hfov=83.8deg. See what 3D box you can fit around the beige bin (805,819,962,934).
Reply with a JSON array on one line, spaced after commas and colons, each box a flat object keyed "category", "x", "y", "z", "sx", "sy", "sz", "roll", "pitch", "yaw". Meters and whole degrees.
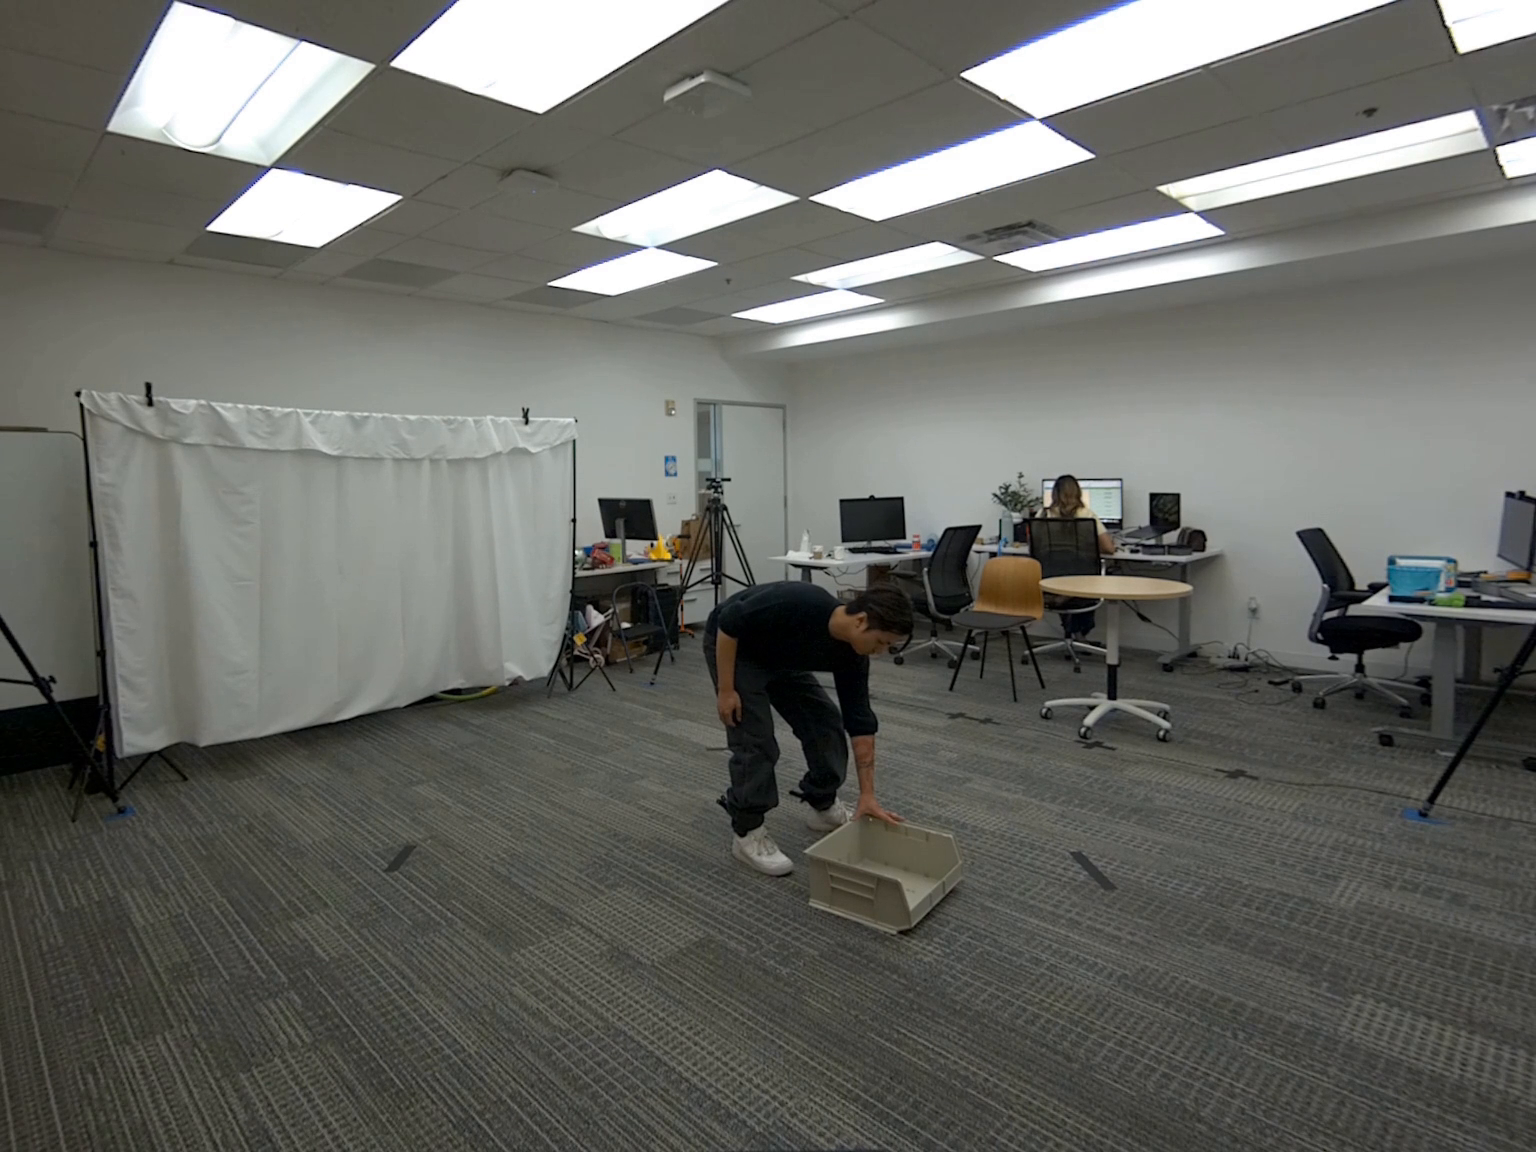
[{"category": "beige bin", "x": 0.395, "y": 0.979, "z": 2.834, "sx": 0.388, "sy": 0.188, "sz": 0.412, "roll": 2, "pitch": 7, "yaw": 36}]
